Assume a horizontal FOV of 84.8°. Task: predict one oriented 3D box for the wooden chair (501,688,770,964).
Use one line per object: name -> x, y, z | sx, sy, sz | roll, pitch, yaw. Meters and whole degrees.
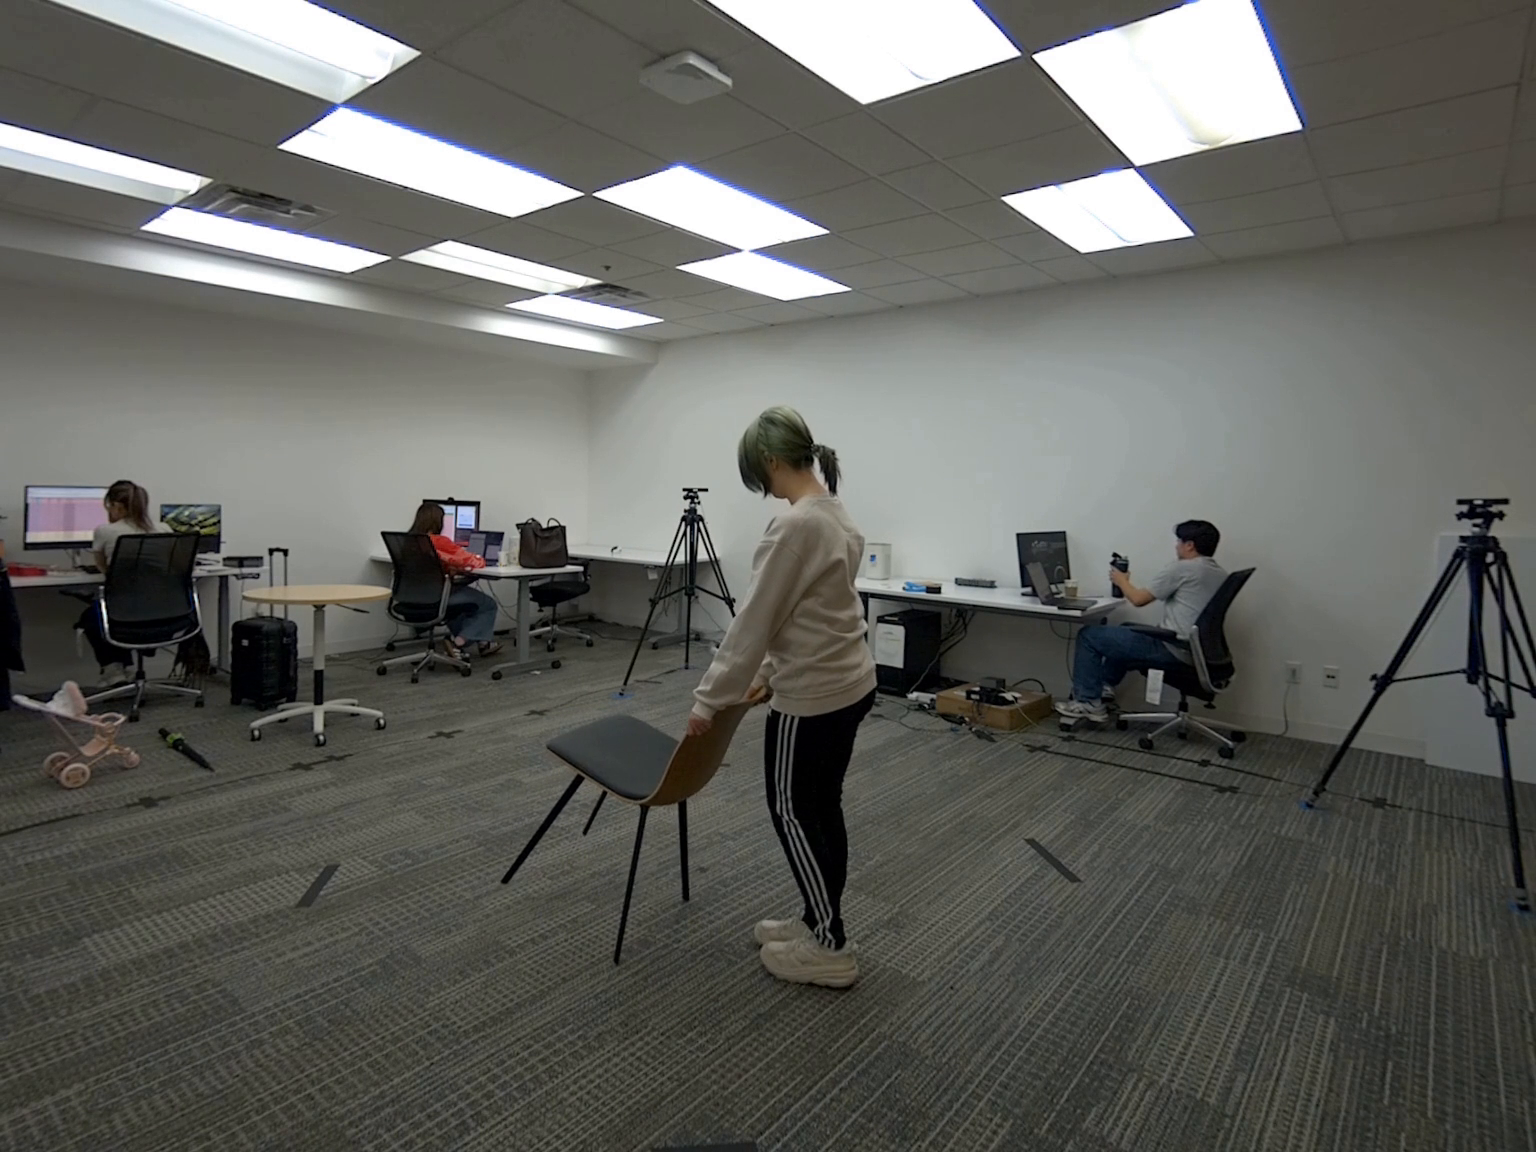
wooden chair -> -0.428, 0.629, 2.680 | 0.539, 0.872, 0.467 | 28, 14, 21
